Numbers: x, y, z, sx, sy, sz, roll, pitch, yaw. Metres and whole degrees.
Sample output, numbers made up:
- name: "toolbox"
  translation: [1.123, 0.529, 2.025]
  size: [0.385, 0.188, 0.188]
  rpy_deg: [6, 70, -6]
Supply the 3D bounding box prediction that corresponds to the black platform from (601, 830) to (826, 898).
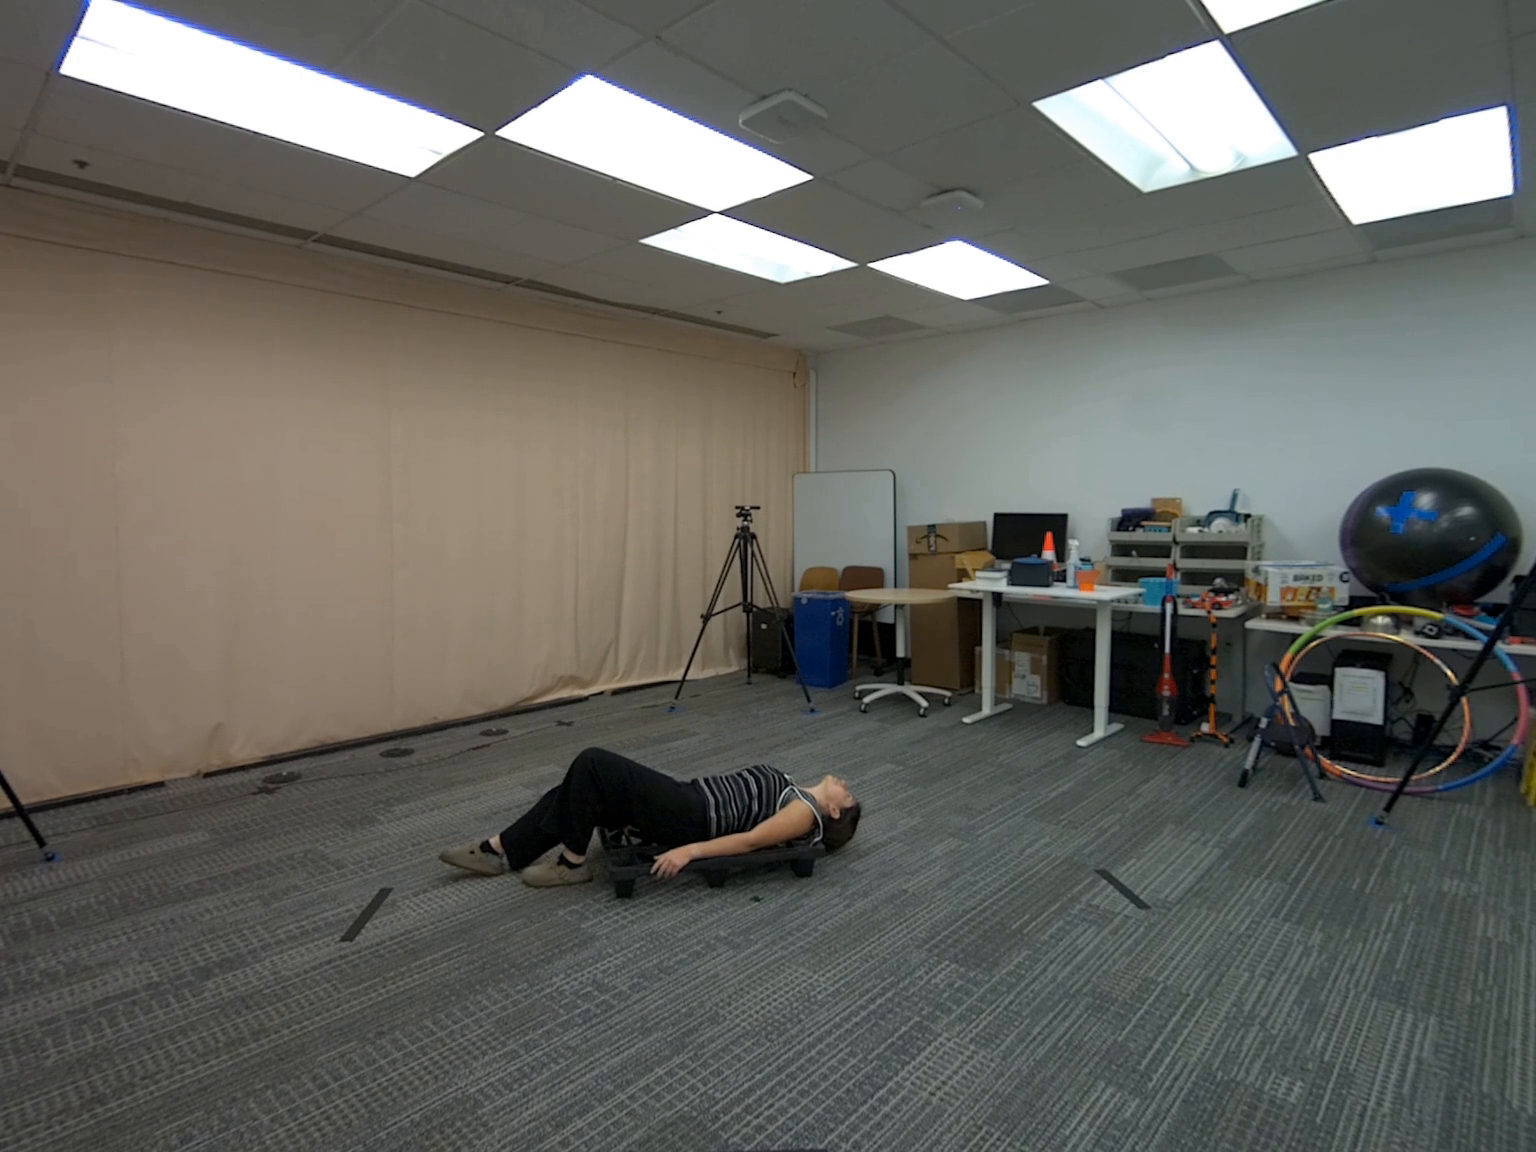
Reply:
- name: "black platform"
  translation: [-0.259, 1.053, 3.307]
  size: [0.794, 0.143, 0.616]
  rpy_deg: [-2, 7, -15]
